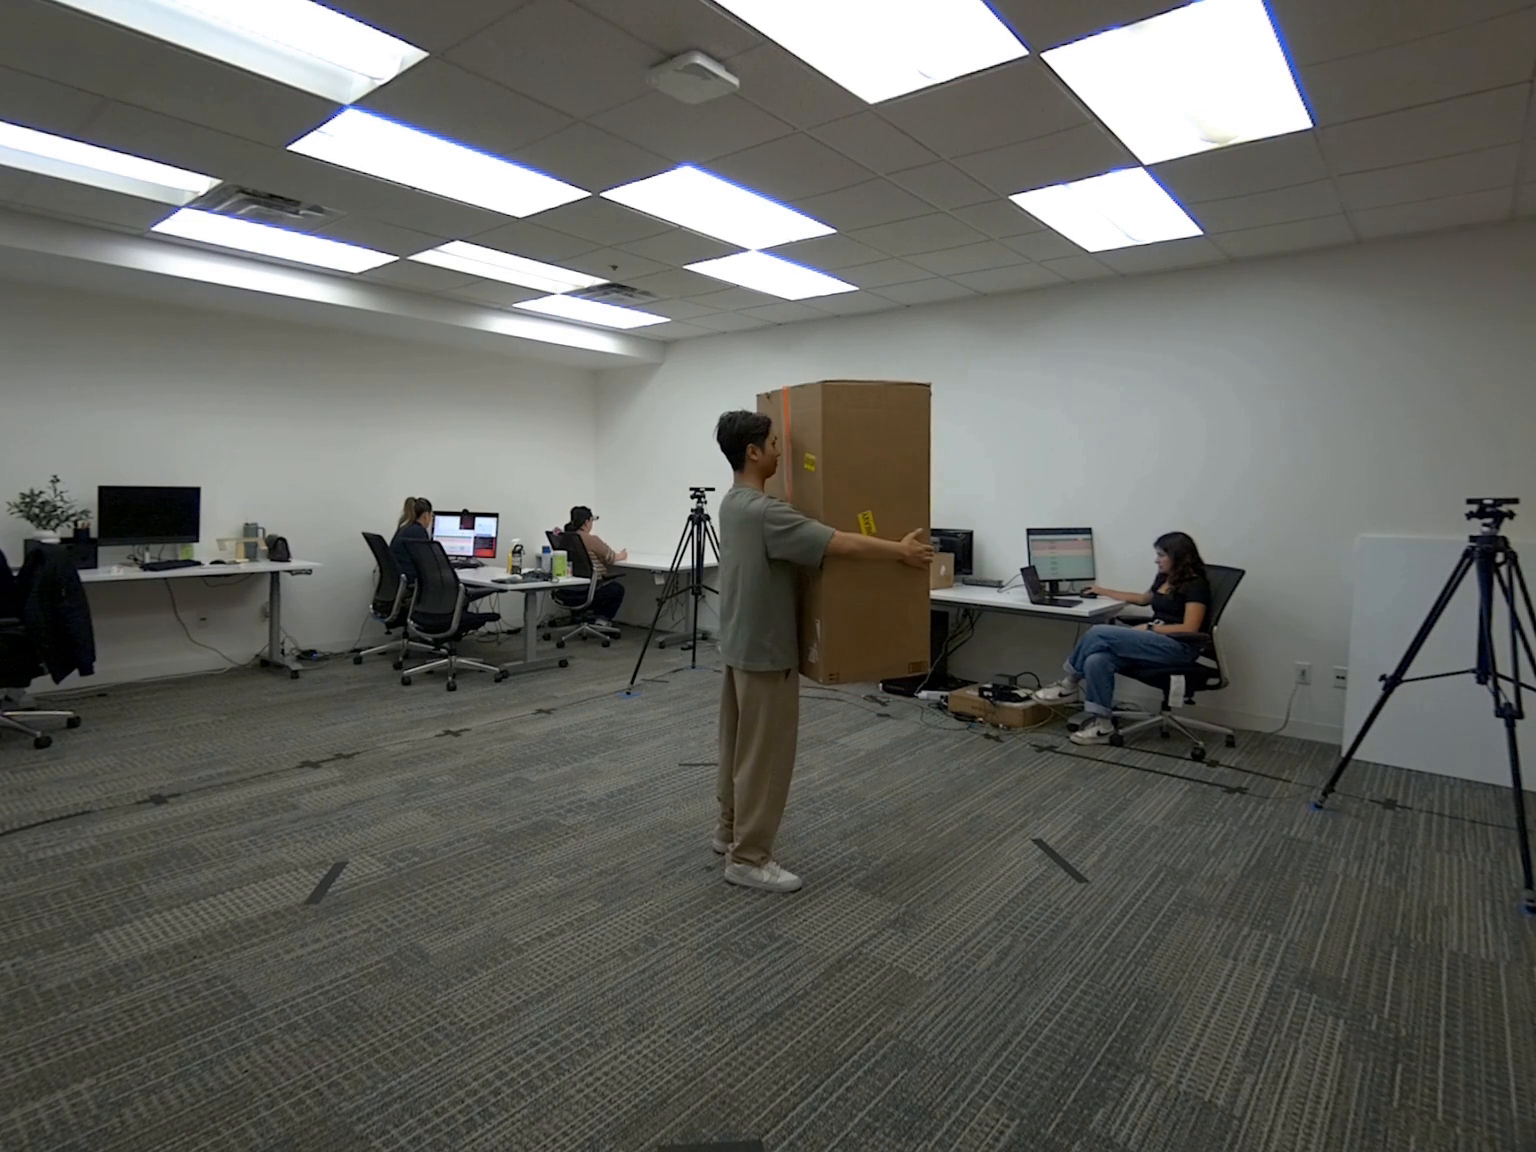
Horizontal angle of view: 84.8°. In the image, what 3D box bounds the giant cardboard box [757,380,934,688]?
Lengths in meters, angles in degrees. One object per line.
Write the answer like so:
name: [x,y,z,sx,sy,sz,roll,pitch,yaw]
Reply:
giant cardboard box: [0.254,-0.188,3.153,0.418,1.020,0.592,-3,6,-21]
